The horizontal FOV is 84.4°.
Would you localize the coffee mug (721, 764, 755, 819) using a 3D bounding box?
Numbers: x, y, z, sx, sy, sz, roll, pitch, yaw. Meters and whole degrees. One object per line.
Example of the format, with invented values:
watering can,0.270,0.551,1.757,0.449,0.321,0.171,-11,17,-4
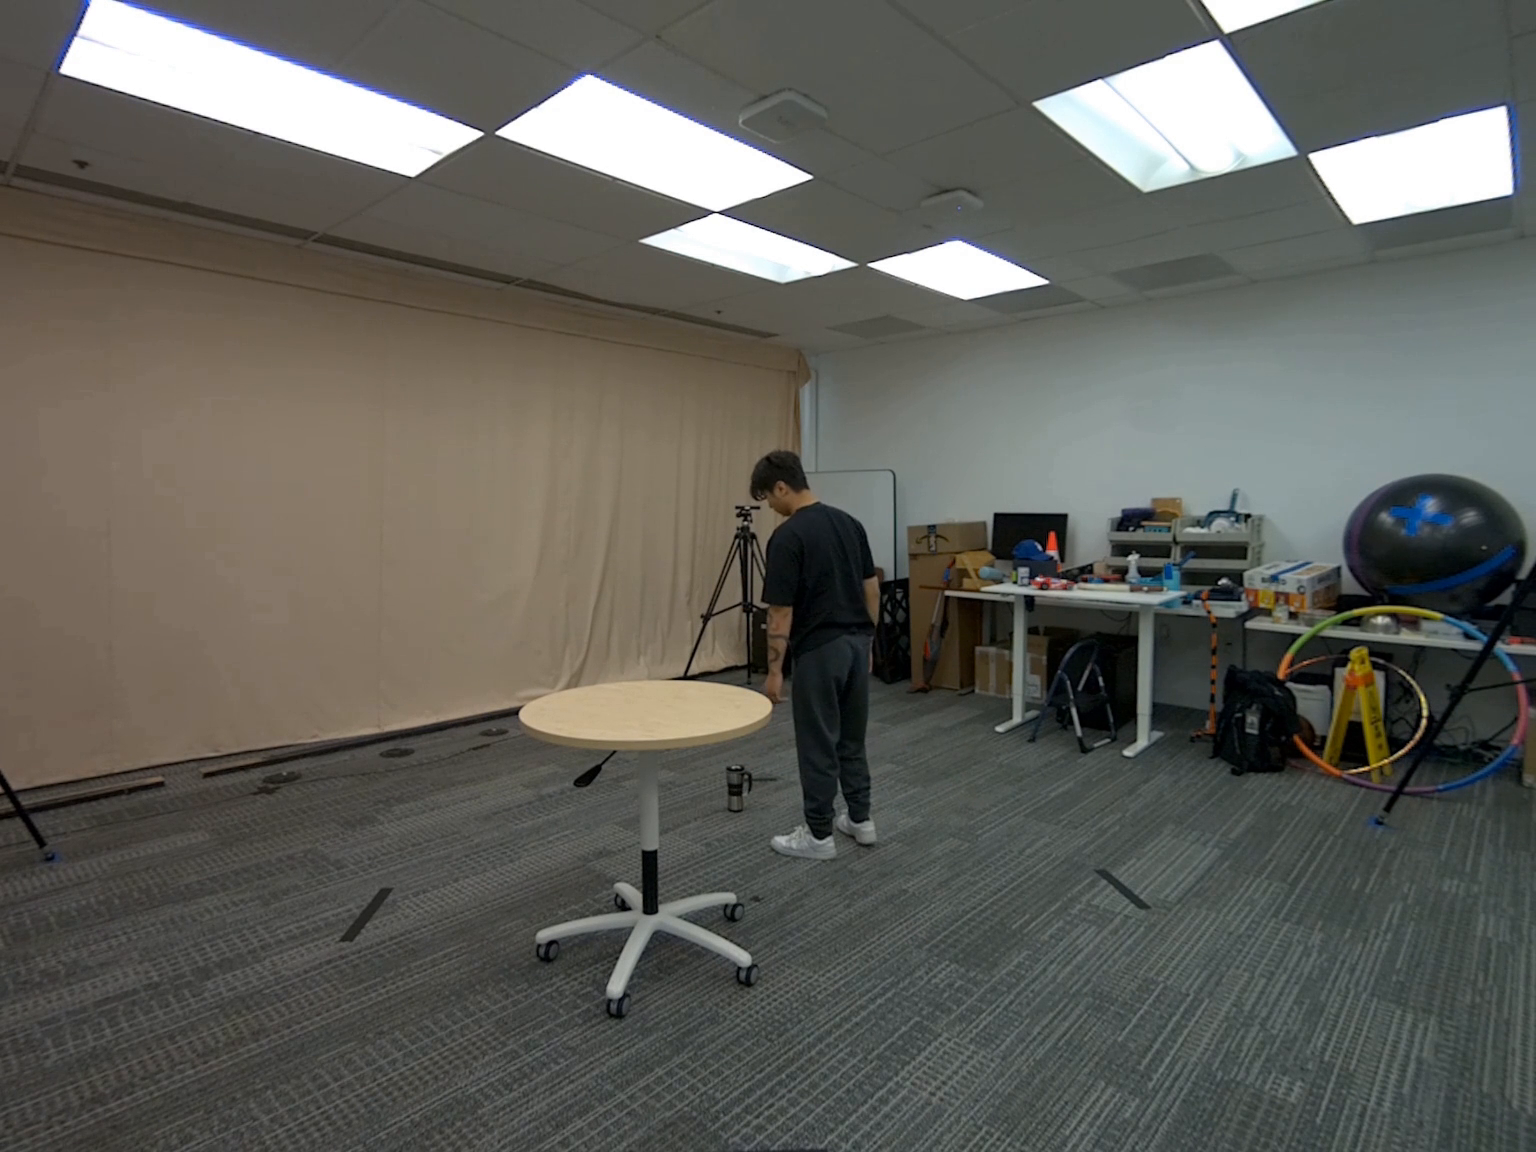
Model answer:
coffee mug,-0.138,0.973,3.841,0.085,0.203,0.126,2,-2,-42
